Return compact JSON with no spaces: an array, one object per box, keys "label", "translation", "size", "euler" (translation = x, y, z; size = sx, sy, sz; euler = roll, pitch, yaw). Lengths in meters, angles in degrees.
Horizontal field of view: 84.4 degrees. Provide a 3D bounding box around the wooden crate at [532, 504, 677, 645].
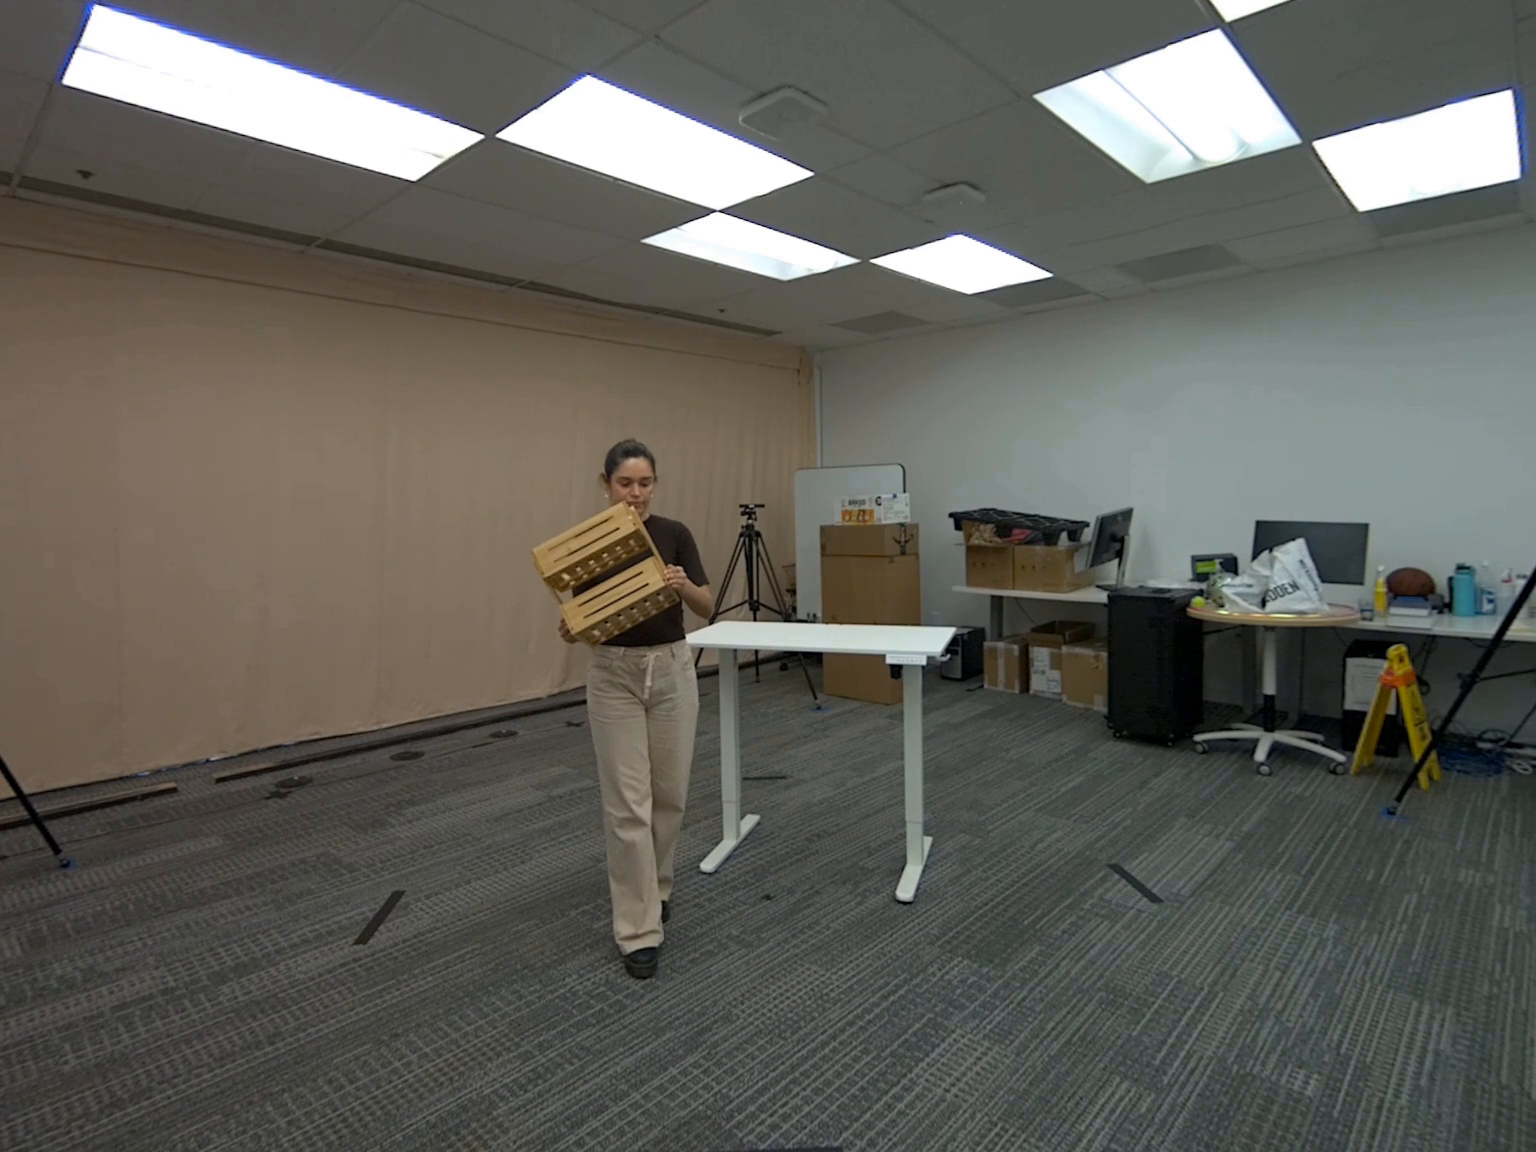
[{"label":"wooden crate","translation":[-0.471,-0.002,2.461],"size":[0.324,0.278,0.298],"euler":[-28,-14,-3]}]
